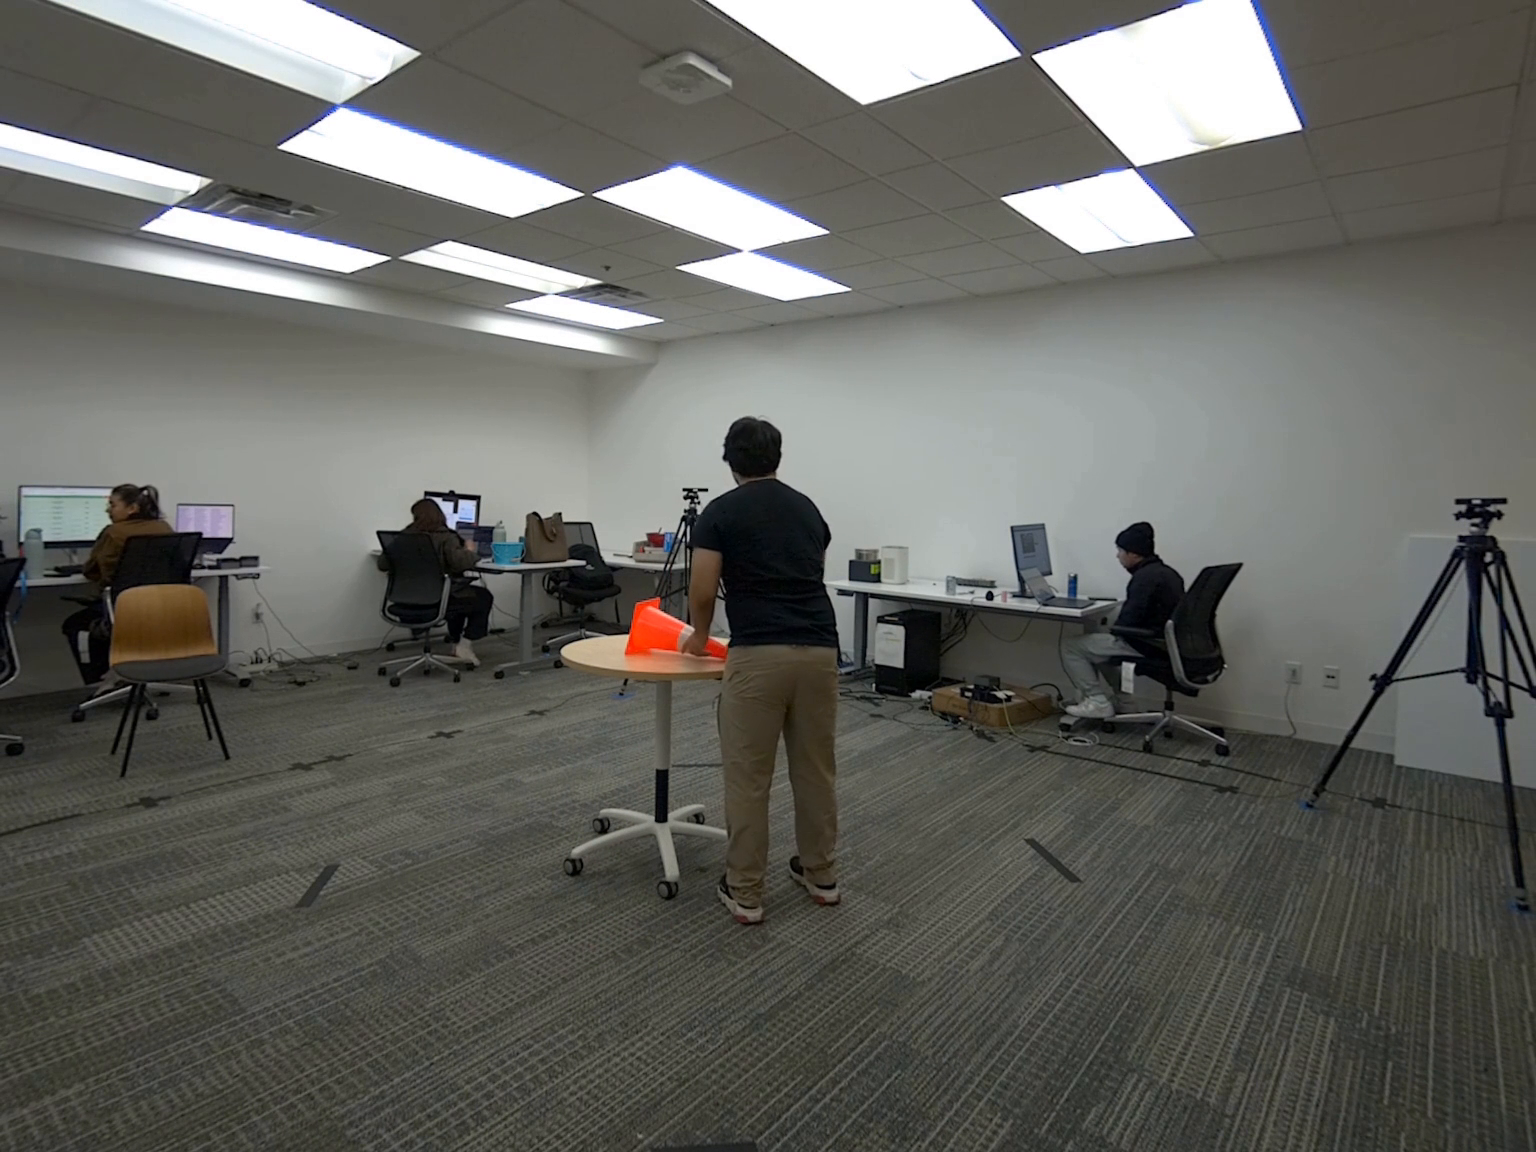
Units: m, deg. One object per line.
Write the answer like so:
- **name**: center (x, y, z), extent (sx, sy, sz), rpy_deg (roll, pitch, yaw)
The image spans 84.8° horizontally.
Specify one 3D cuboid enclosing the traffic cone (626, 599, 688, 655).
- **traffic cone**: center (-0.298, 0.237, 3.067), extent (0.393, 0.204, 0.199), rpy_deg (17, 9, 19)
